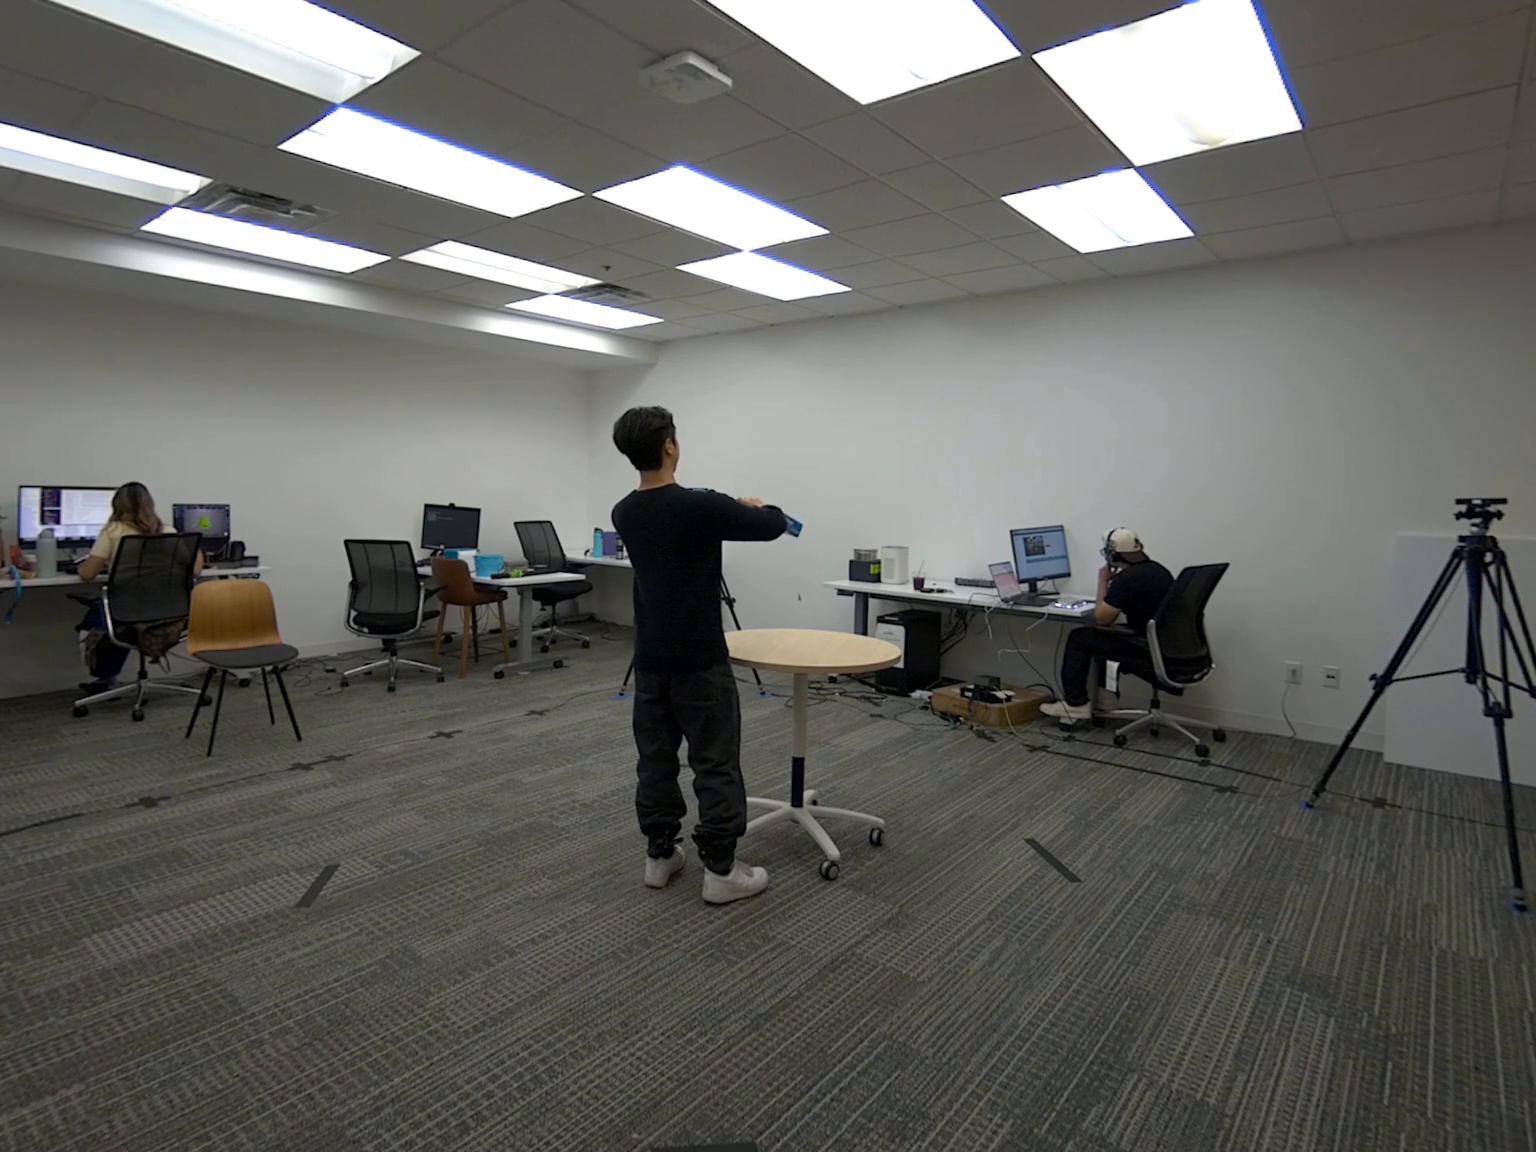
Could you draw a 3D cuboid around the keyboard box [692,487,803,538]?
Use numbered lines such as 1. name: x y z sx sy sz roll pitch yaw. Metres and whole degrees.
1. keyboard box: -0.090 -0.260 3.395 0.453 0.059 0.169 19 -2 34
